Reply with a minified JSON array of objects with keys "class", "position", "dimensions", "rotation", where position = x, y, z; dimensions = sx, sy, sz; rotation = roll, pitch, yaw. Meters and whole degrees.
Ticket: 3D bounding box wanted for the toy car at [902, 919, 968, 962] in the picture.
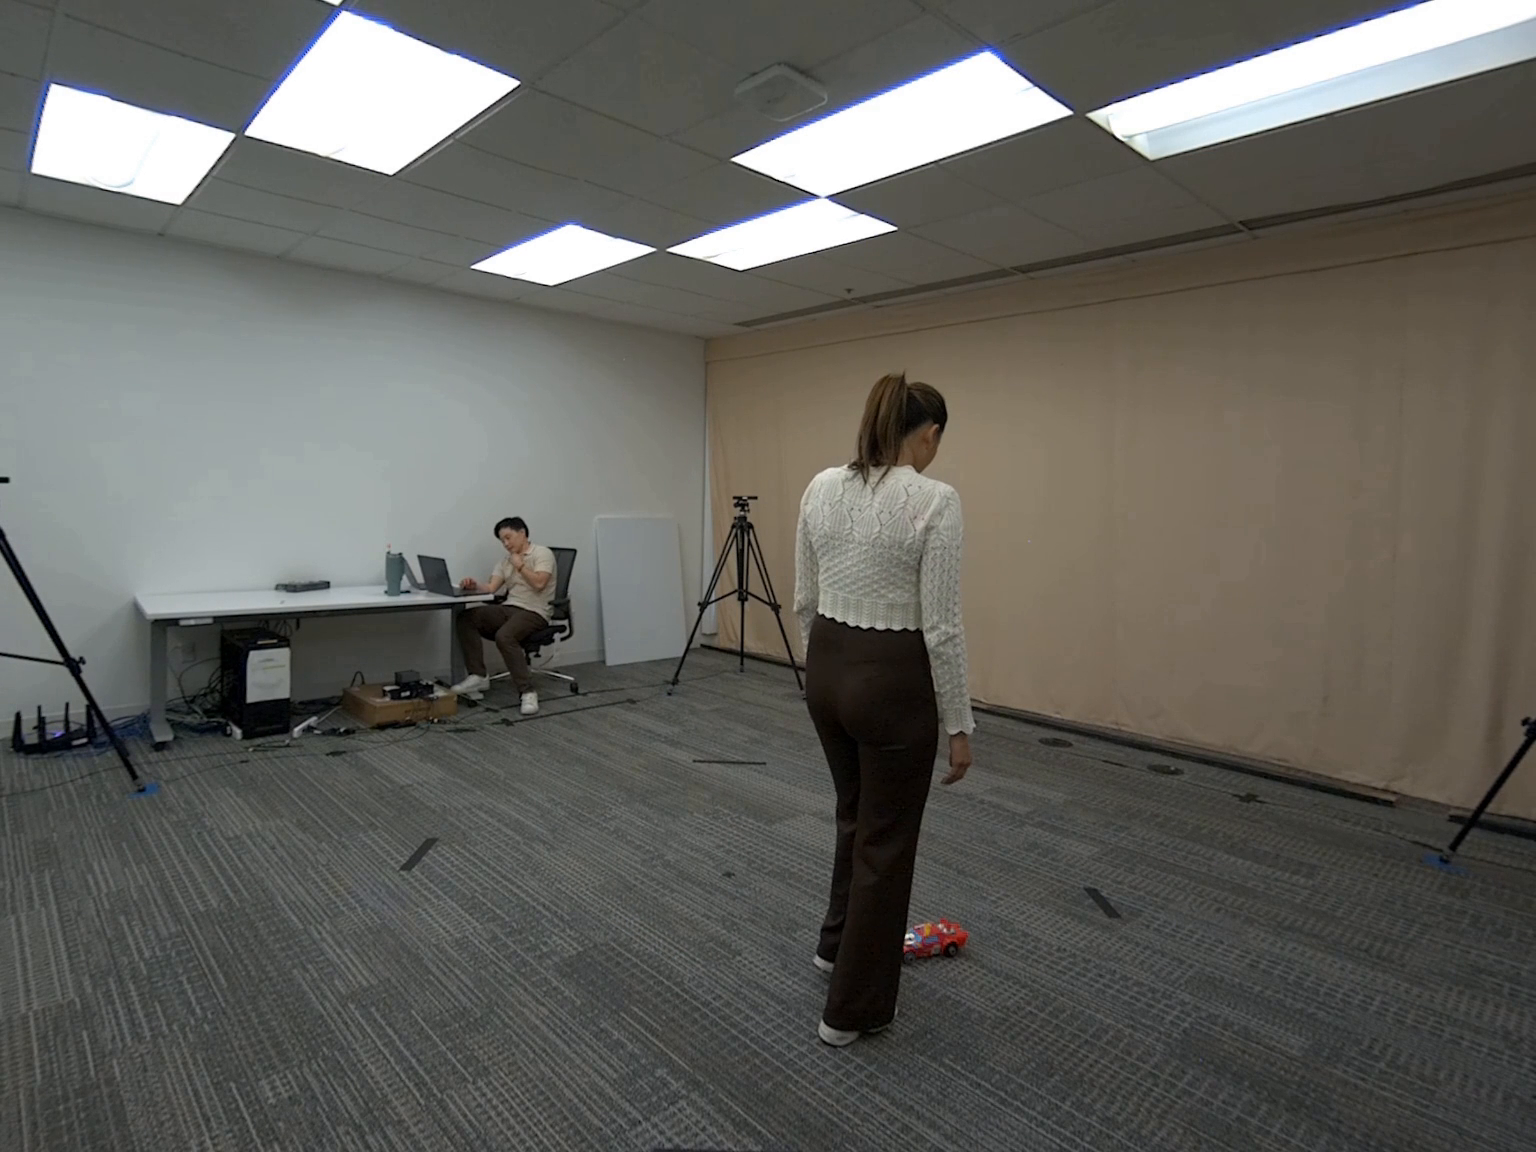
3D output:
[{"class":"toy car","position":[0.497,1.134,2.606],"dimensions":[0.252,0.082,0.132],"rotation":[-13,9,-18]}]
